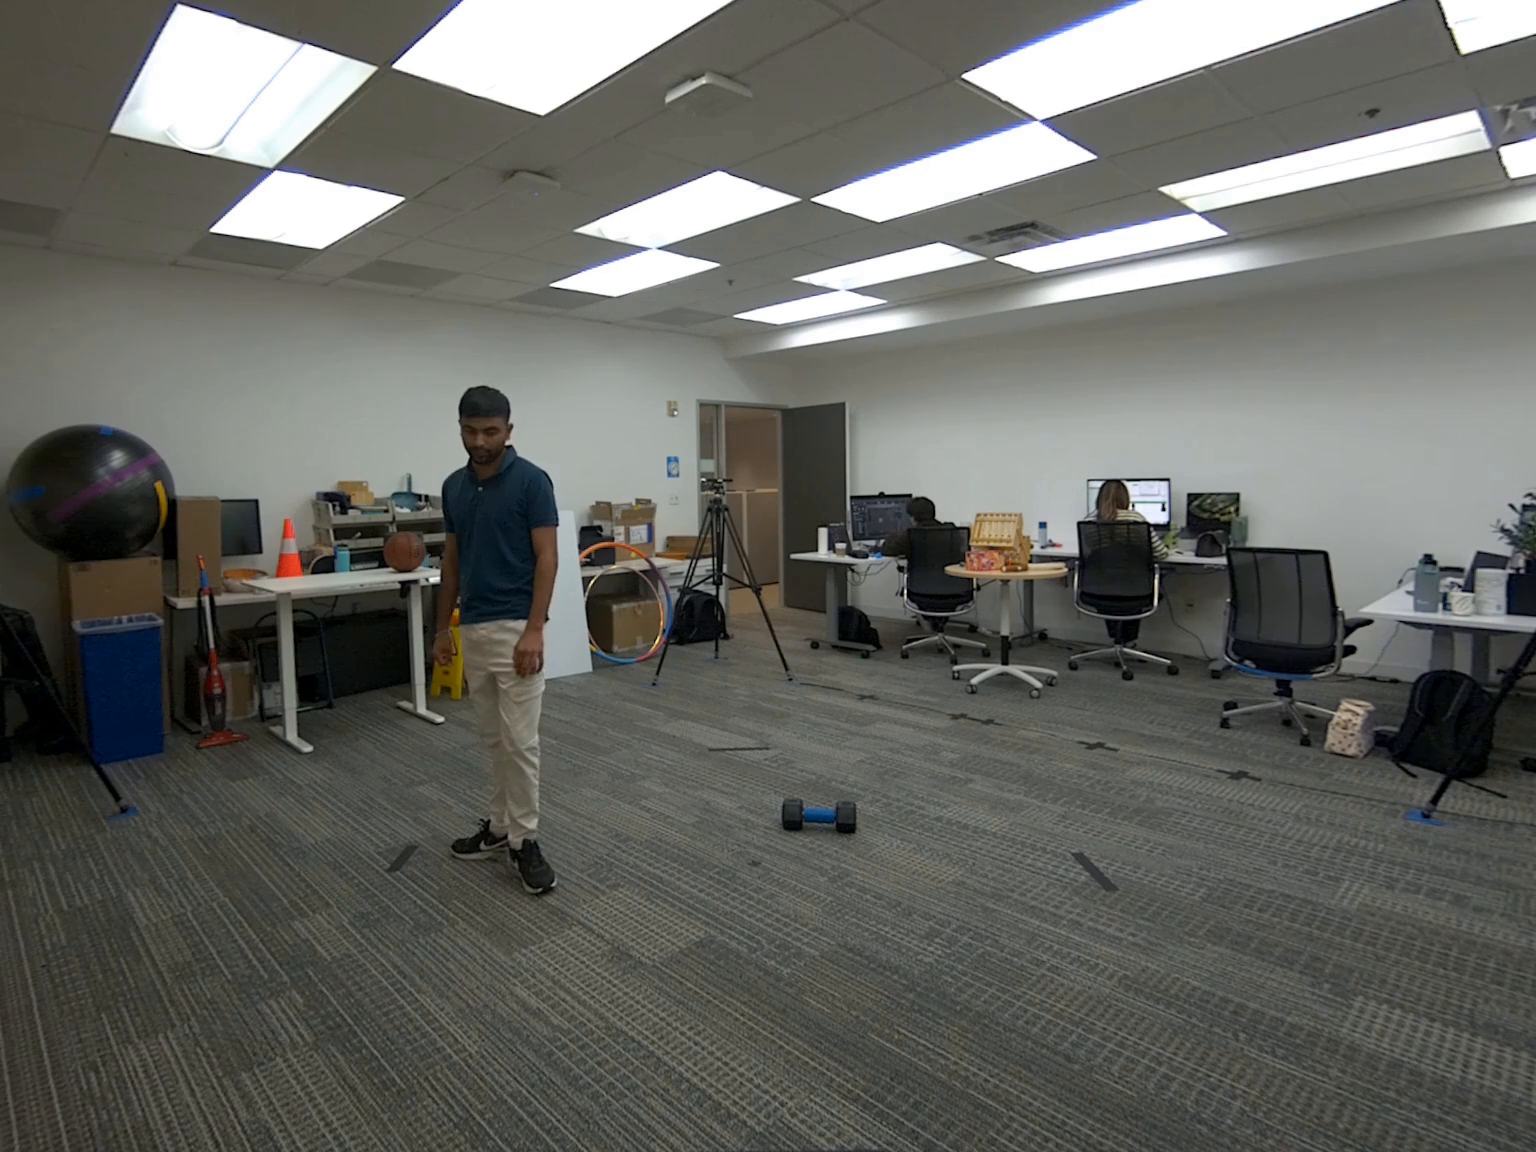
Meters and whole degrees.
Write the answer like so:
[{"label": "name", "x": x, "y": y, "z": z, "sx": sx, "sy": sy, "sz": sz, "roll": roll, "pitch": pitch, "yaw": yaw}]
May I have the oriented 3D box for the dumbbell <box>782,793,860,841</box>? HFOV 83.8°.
[{"label": "dumbbell", "x": 0.210, "y": 0.955, "z": 3.402, "sx": 0.296, "sy": 0.119, "sz": 0.110, "roll": 1, "pitch": 34, "yaw": 10}]
